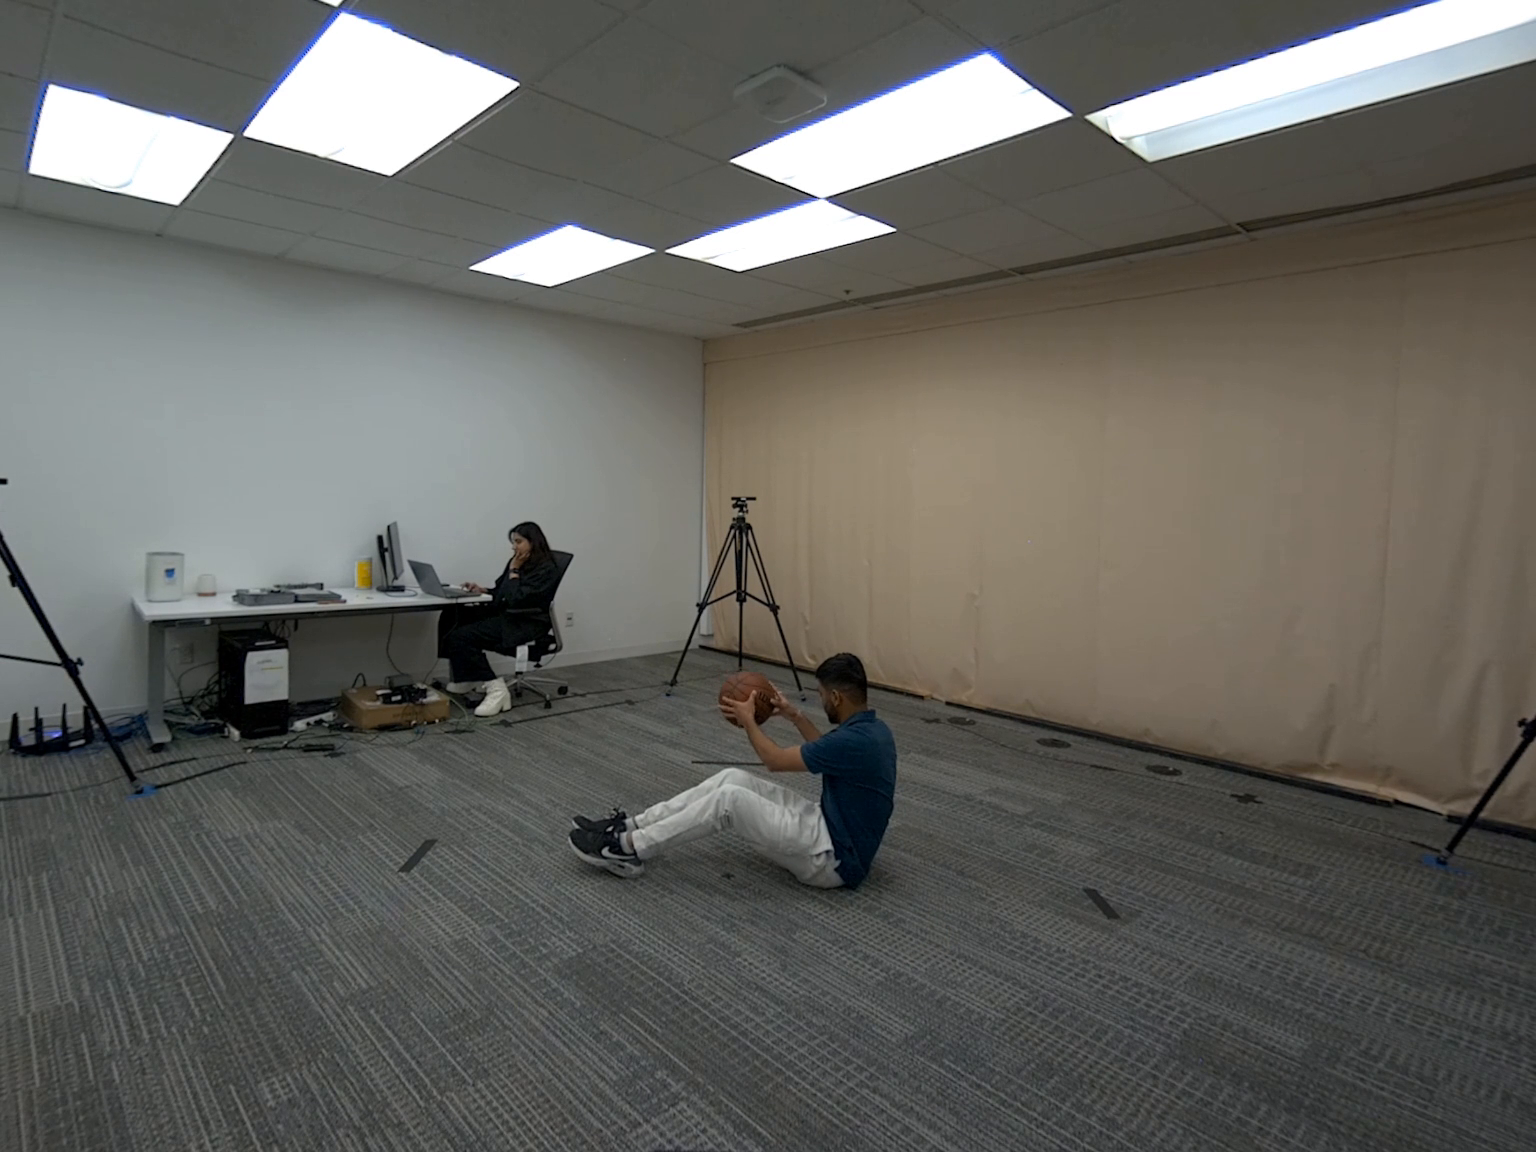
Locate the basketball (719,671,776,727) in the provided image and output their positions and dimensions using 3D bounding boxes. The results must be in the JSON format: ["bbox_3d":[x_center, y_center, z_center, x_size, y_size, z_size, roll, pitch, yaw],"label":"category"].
[{"bbox_3d":[-0.101,0.535,3.541,0.236,0.235,0.237,1,4,-1],"label":"basketball"}]
